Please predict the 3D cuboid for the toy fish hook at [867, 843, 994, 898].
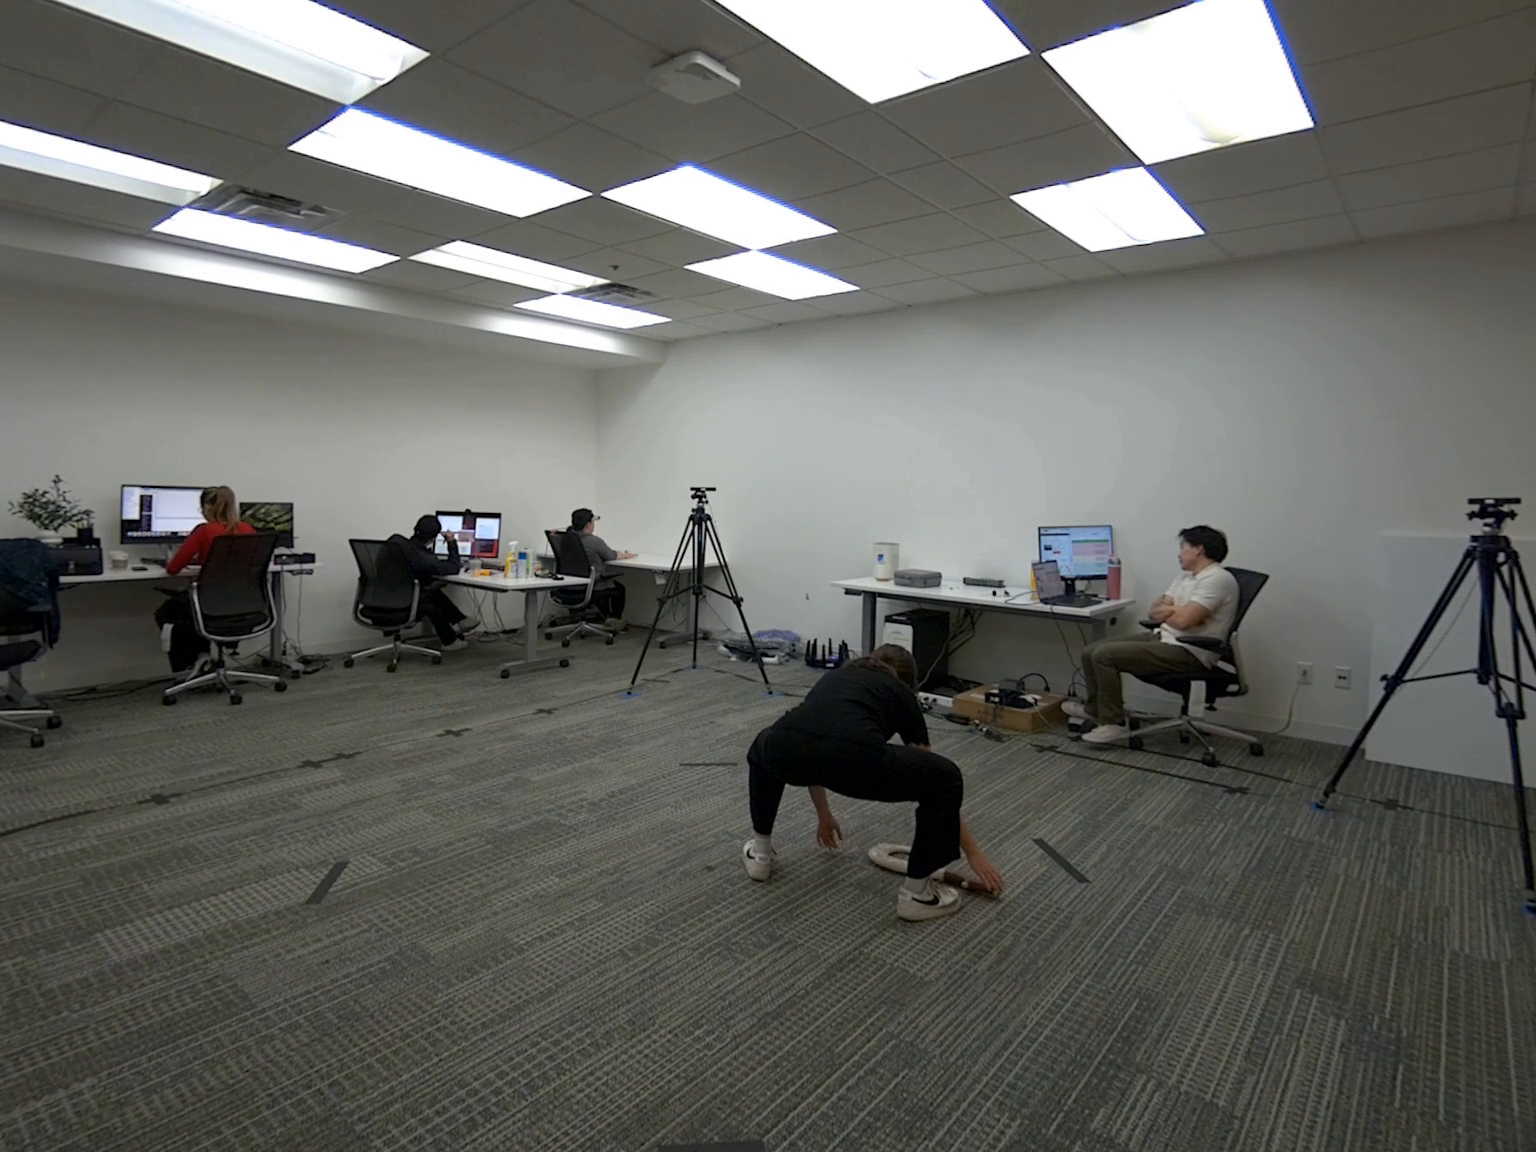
[{"bbox_3d":[0.604,1.060,3.124,0.523,0.048,0.219,5,9,36],"label":"toy fish hook"}]
